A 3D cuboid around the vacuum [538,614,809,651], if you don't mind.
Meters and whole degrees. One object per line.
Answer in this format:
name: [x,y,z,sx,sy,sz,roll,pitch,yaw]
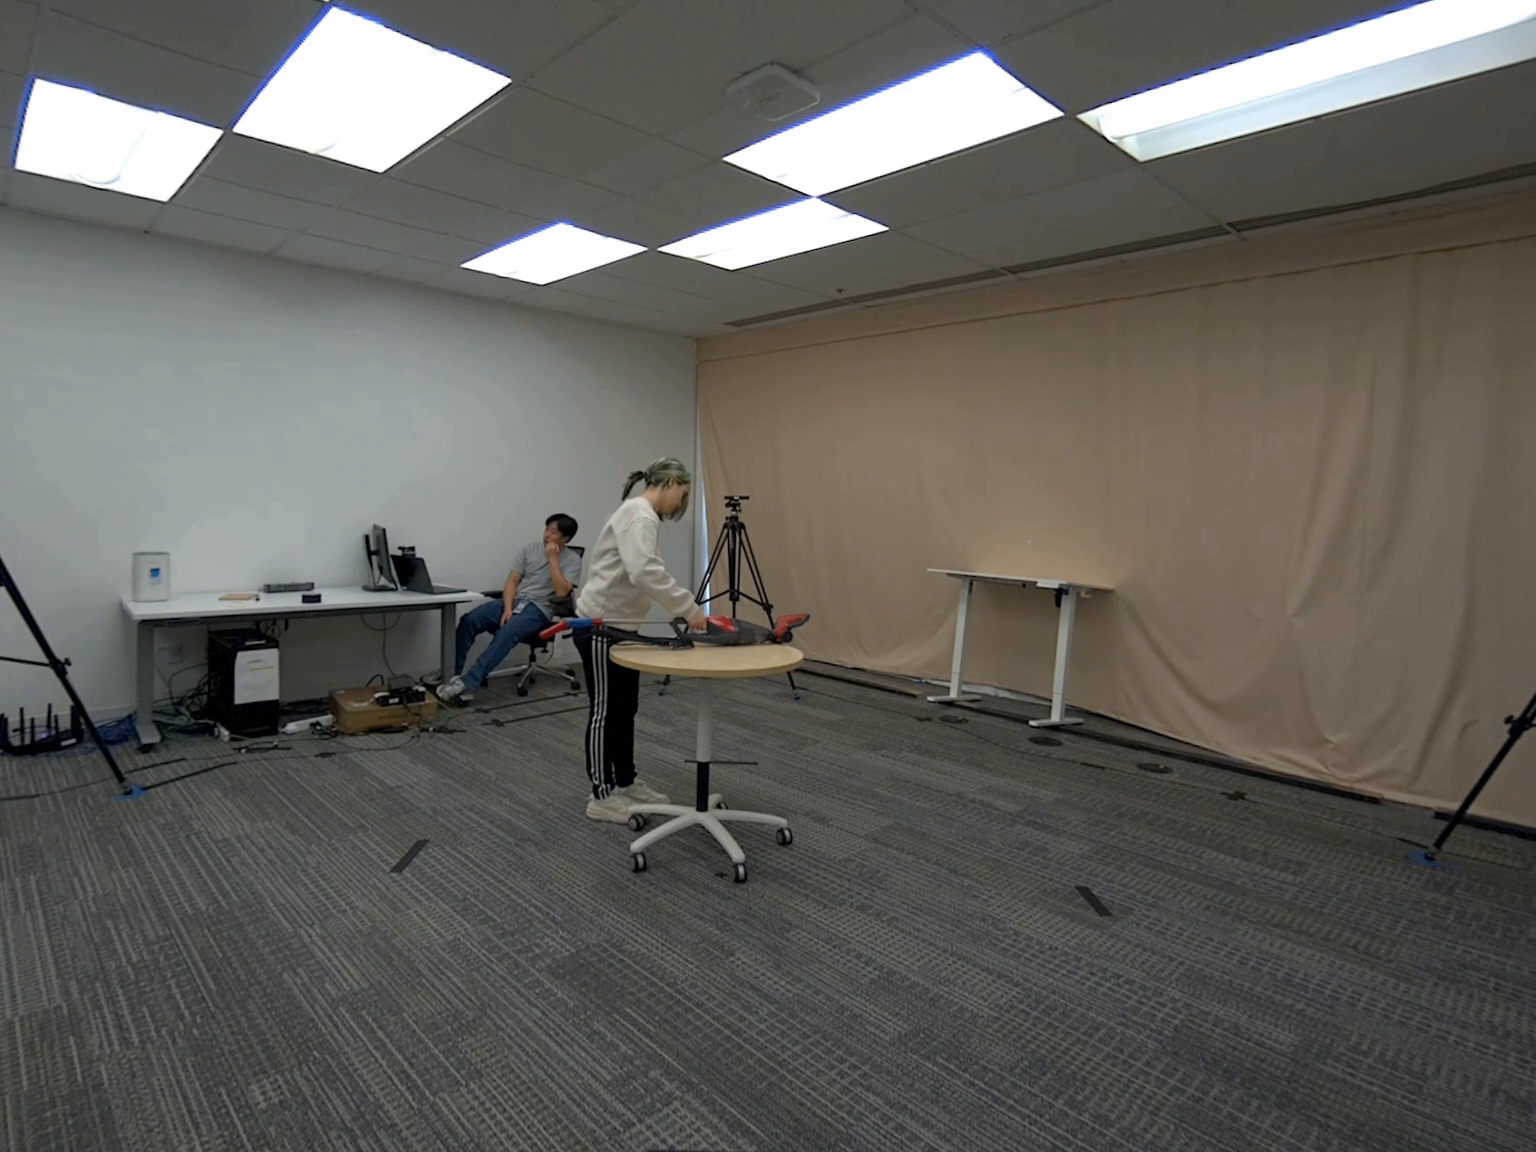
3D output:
vacuum: [-0.389,0.243,3.387,1.031,0.144,0.256,0,-3,-23]
